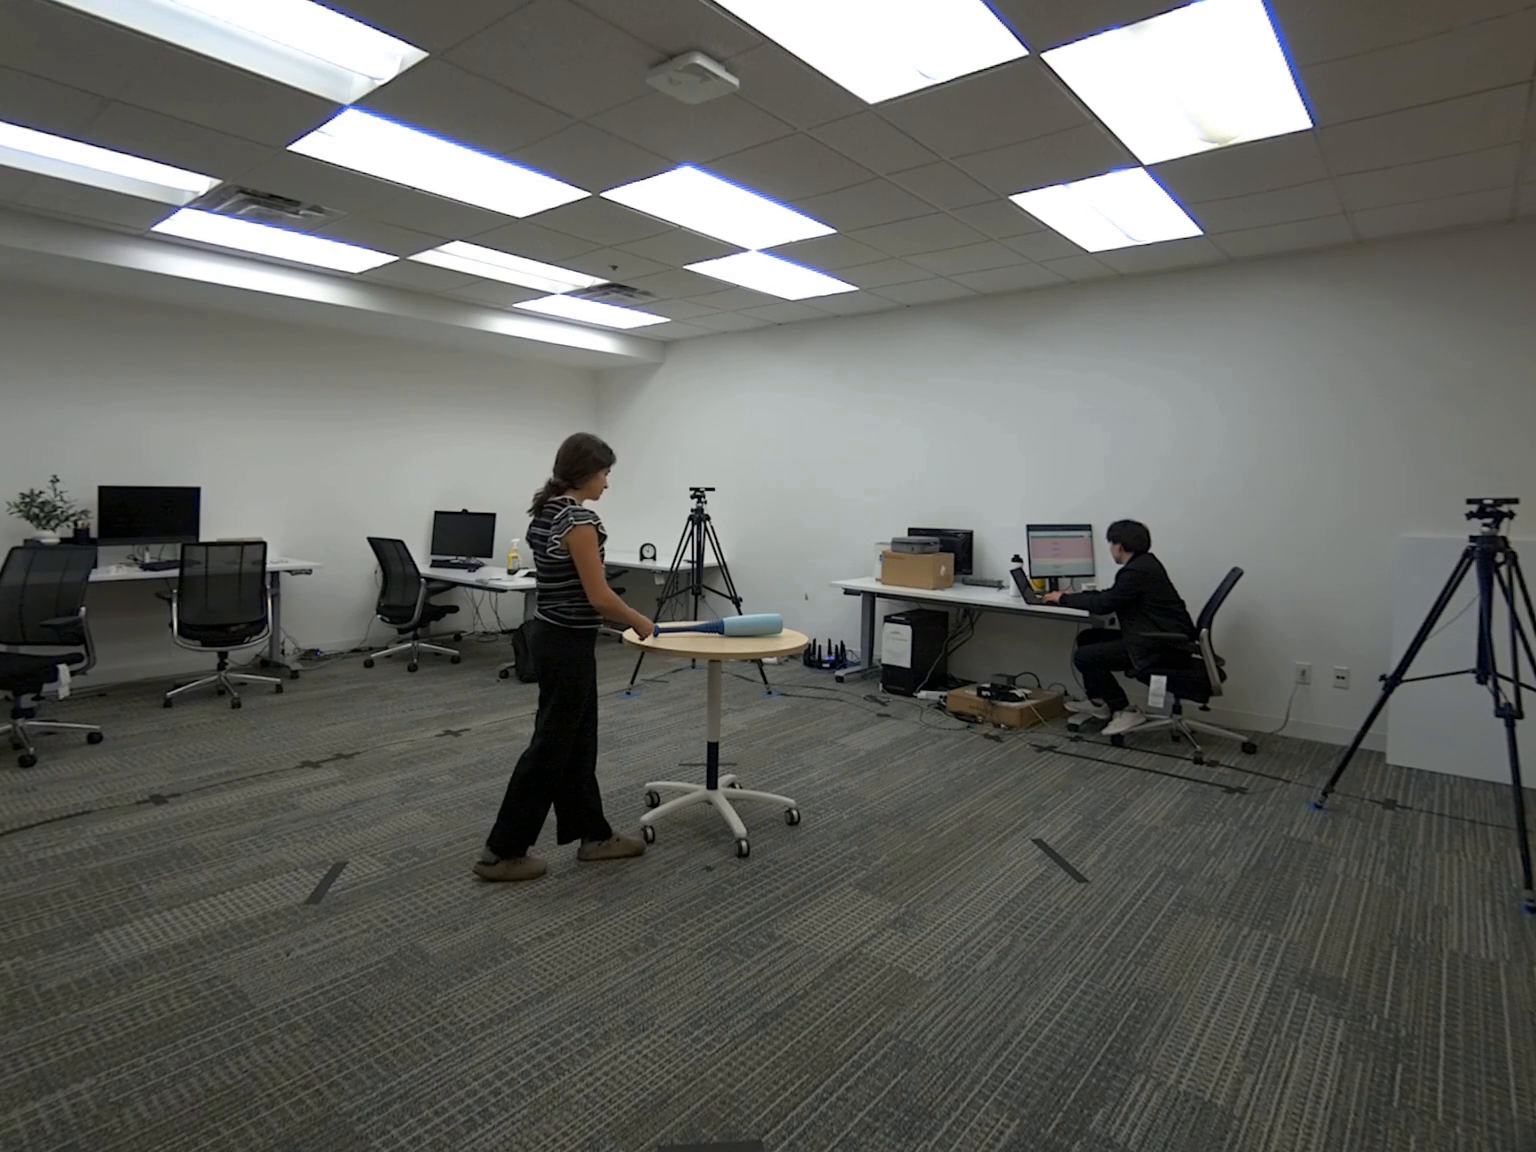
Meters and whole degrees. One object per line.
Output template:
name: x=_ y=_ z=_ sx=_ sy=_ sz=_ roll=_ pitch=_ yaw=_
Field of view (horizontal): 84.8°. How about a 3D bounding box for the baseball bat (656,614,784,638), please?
baseball bat: x=-0.219 y=0.206 z=3.494 sx=0.536 sy=0.089 sz=0.090 roll=-2 pitch=5 yaw=-12
